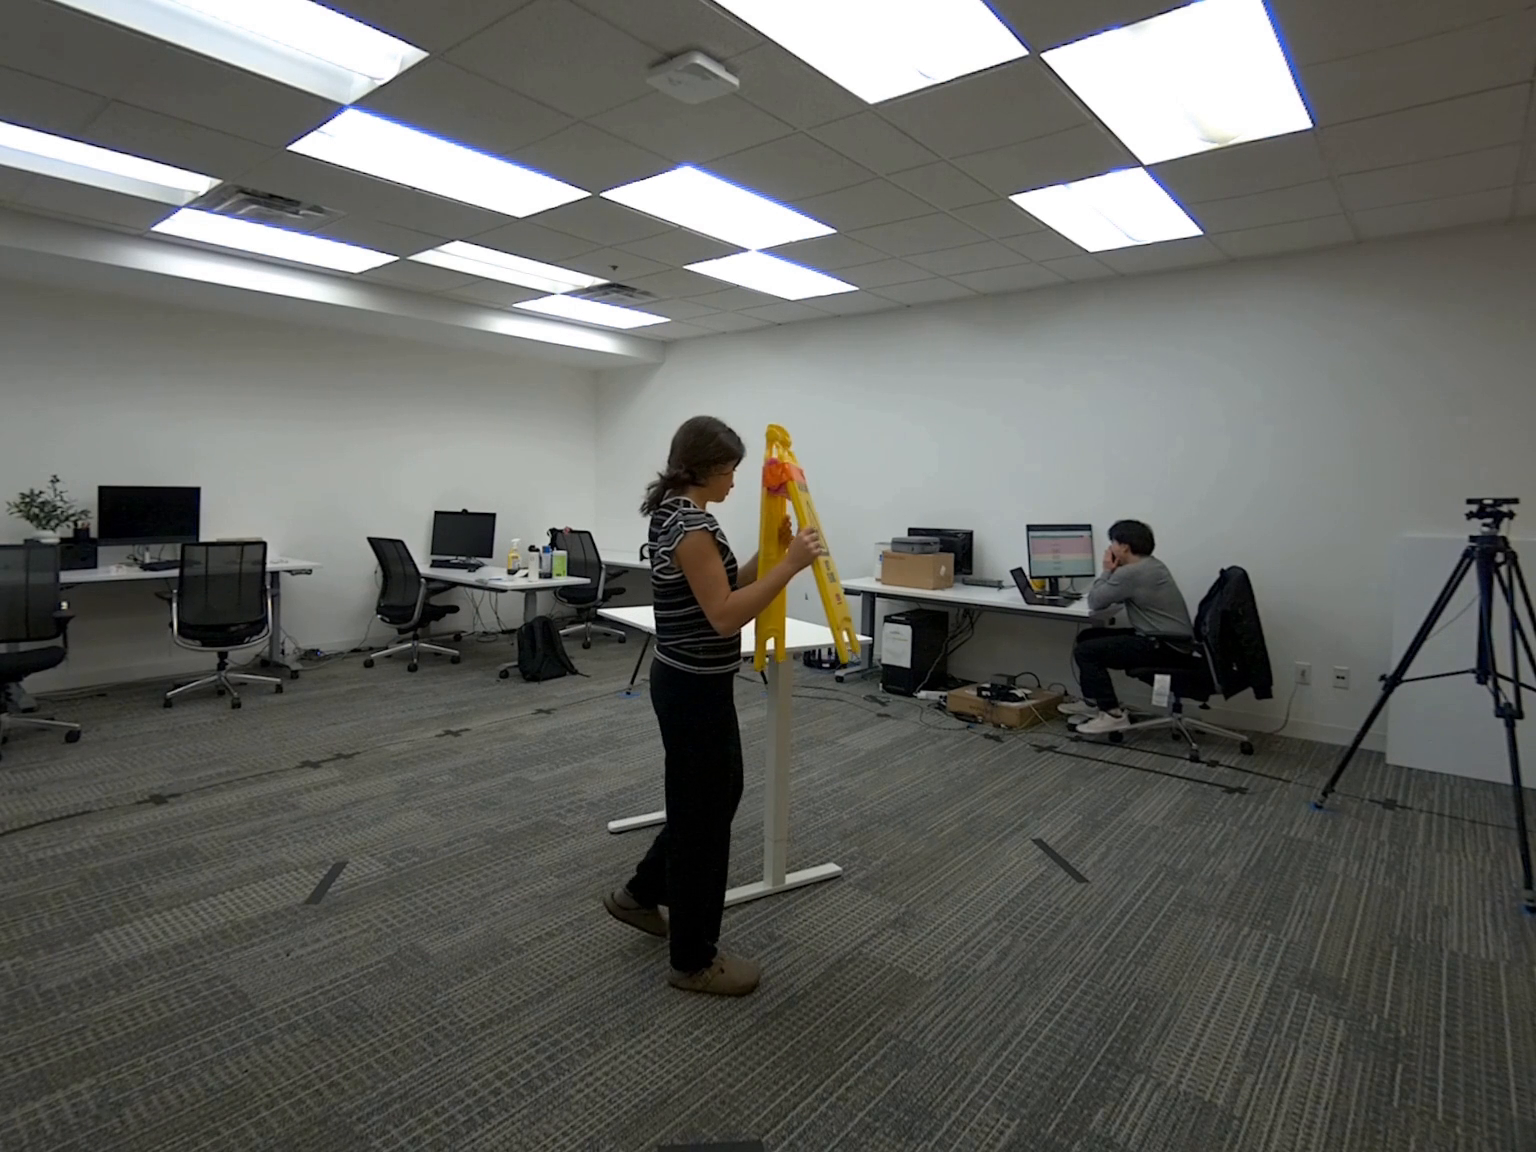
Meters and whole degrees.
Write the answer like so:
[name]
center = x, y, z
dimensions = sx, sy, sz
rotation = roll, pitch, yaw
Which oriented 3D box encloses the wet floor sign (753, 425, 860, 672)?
[wet floor sign]
center = 0.054, -0.087, 2.347
dimensions = 0.294, 0.649, 0.277
rotation = -8, -4, 14
